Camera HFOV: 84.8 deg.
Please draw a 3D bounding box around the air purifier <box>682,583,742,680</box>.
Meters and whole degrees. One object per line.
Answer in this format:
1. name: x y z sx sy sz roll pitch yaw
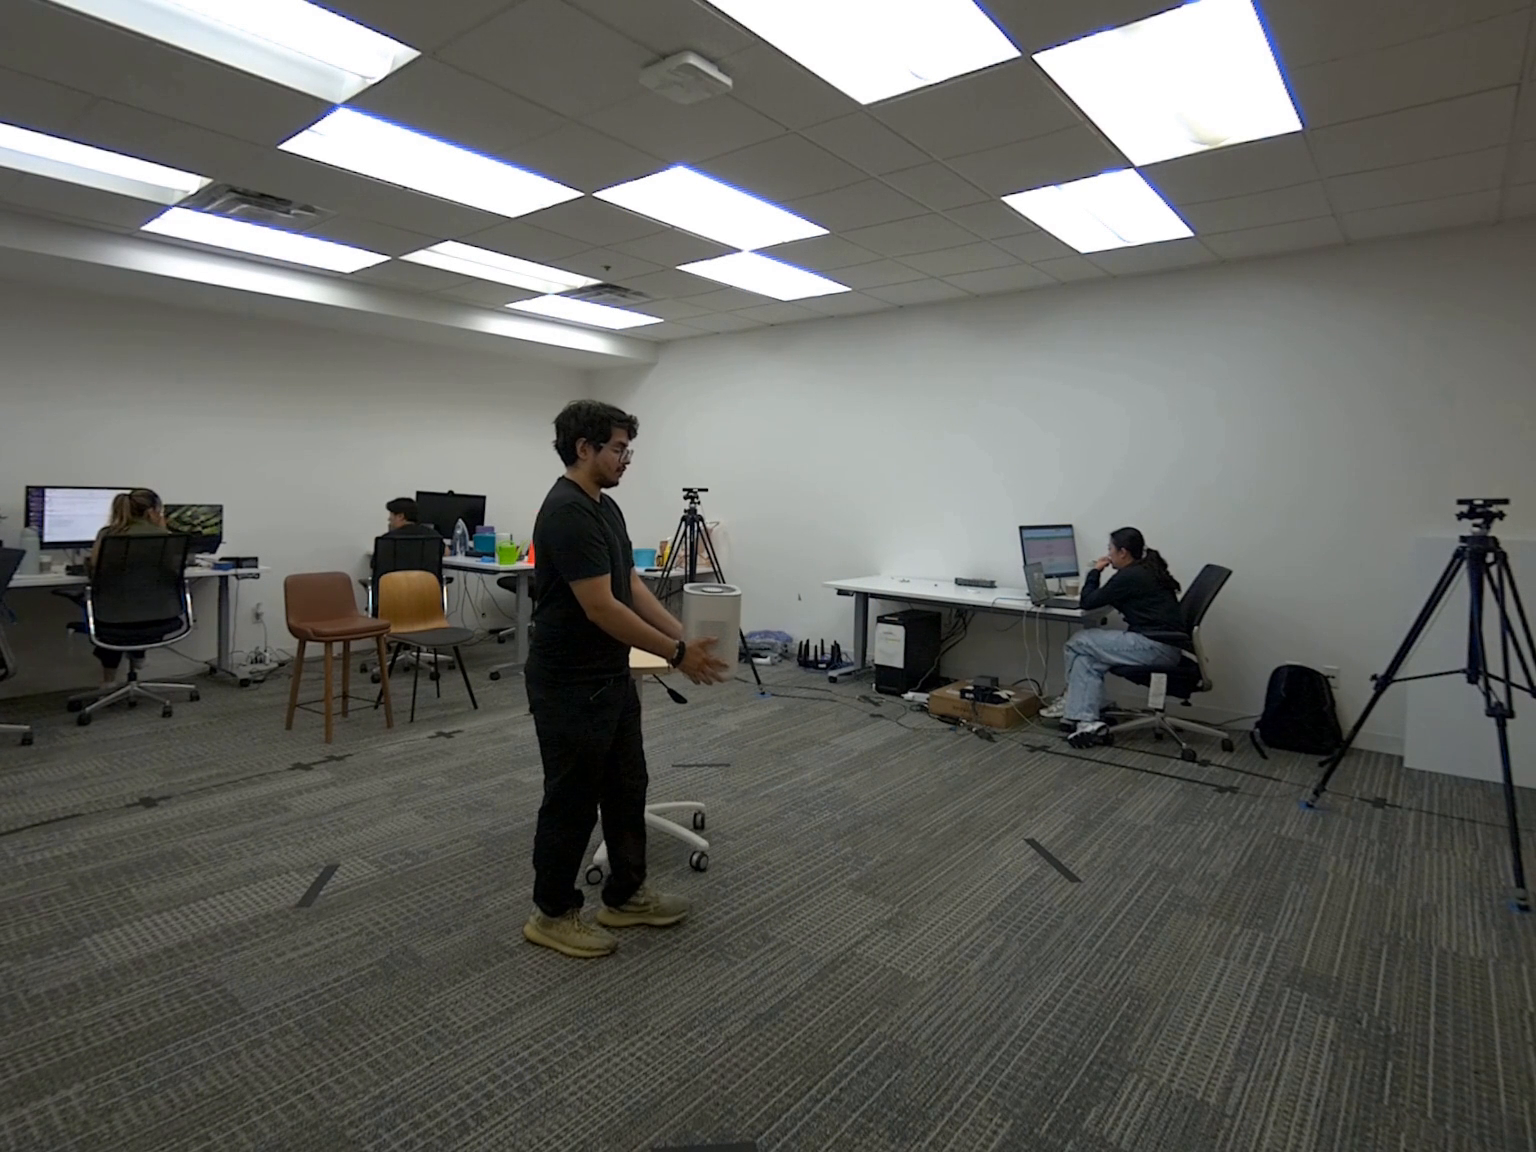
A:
1. air purifier: -0.180 0.166 2.529 0.170 0.263 0.173 1 8 -6
